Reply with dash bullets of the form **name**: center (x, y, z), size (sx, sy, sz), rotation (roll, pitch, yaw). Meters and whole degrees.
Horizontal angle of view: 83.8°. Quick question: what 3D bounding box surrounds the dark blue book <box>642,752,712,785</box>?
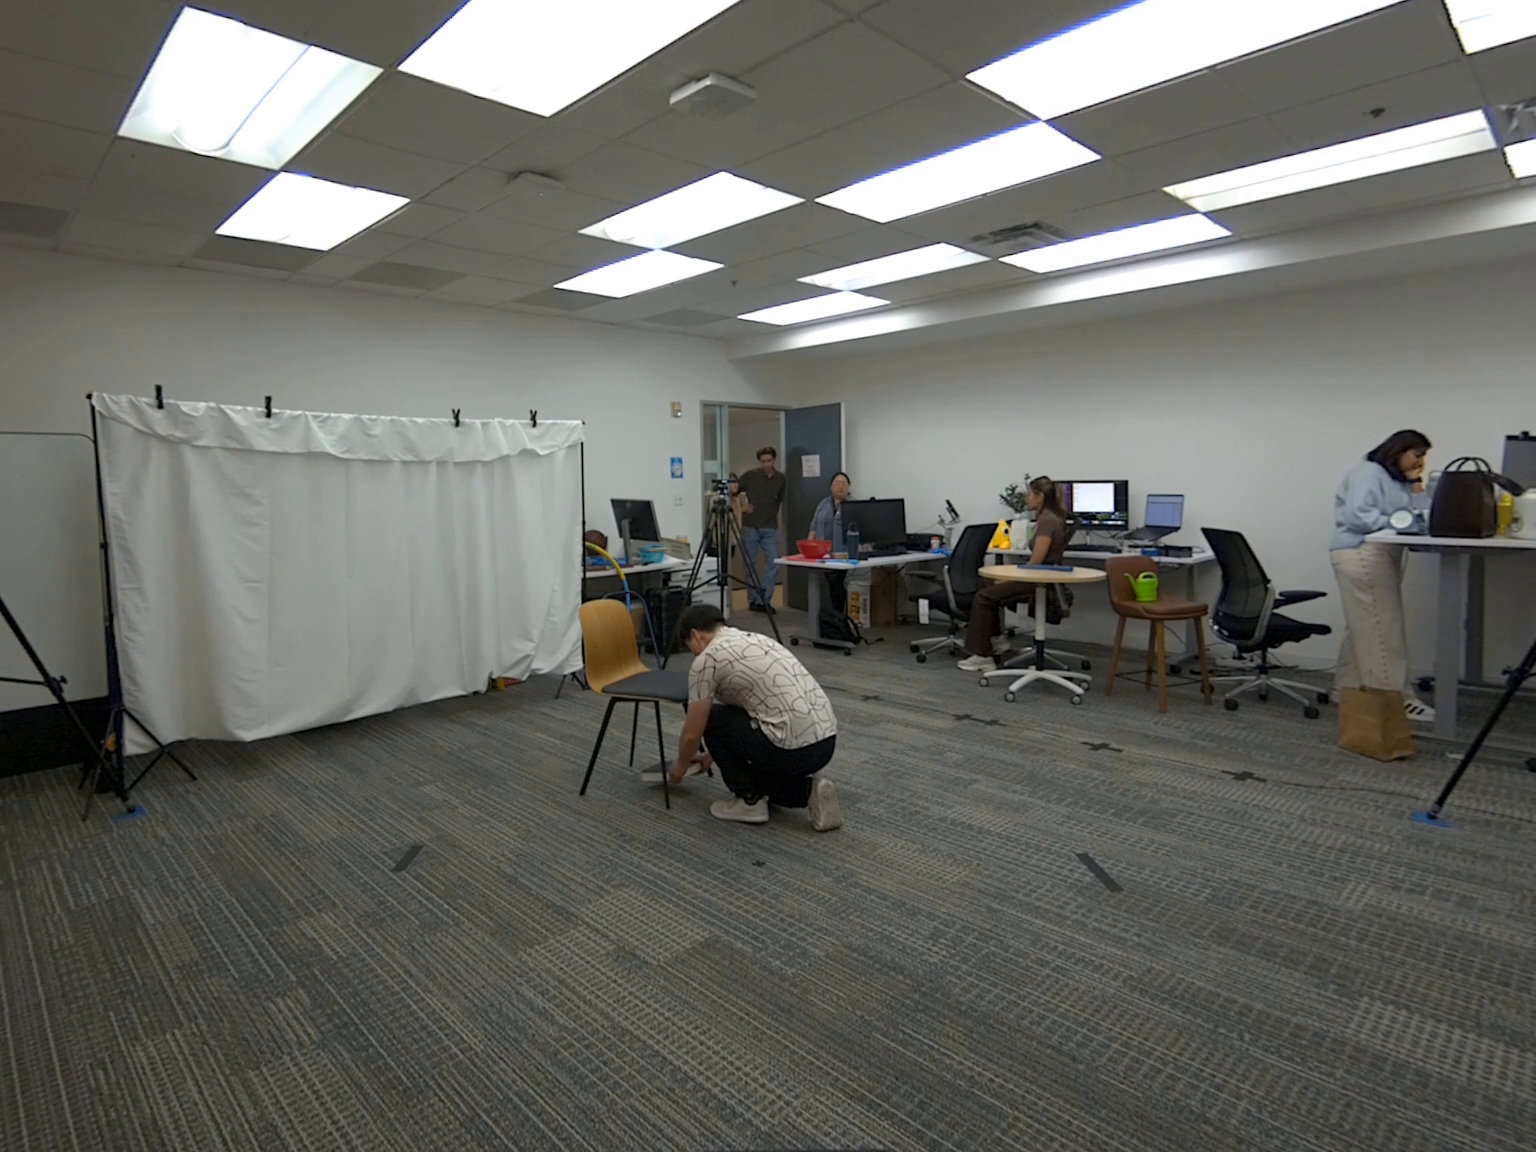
- **dark blue book**: center (-0.438, 0.891, 3.904), size (0.251, 0.045, 0.159), rotation (-8, 2, 41)
